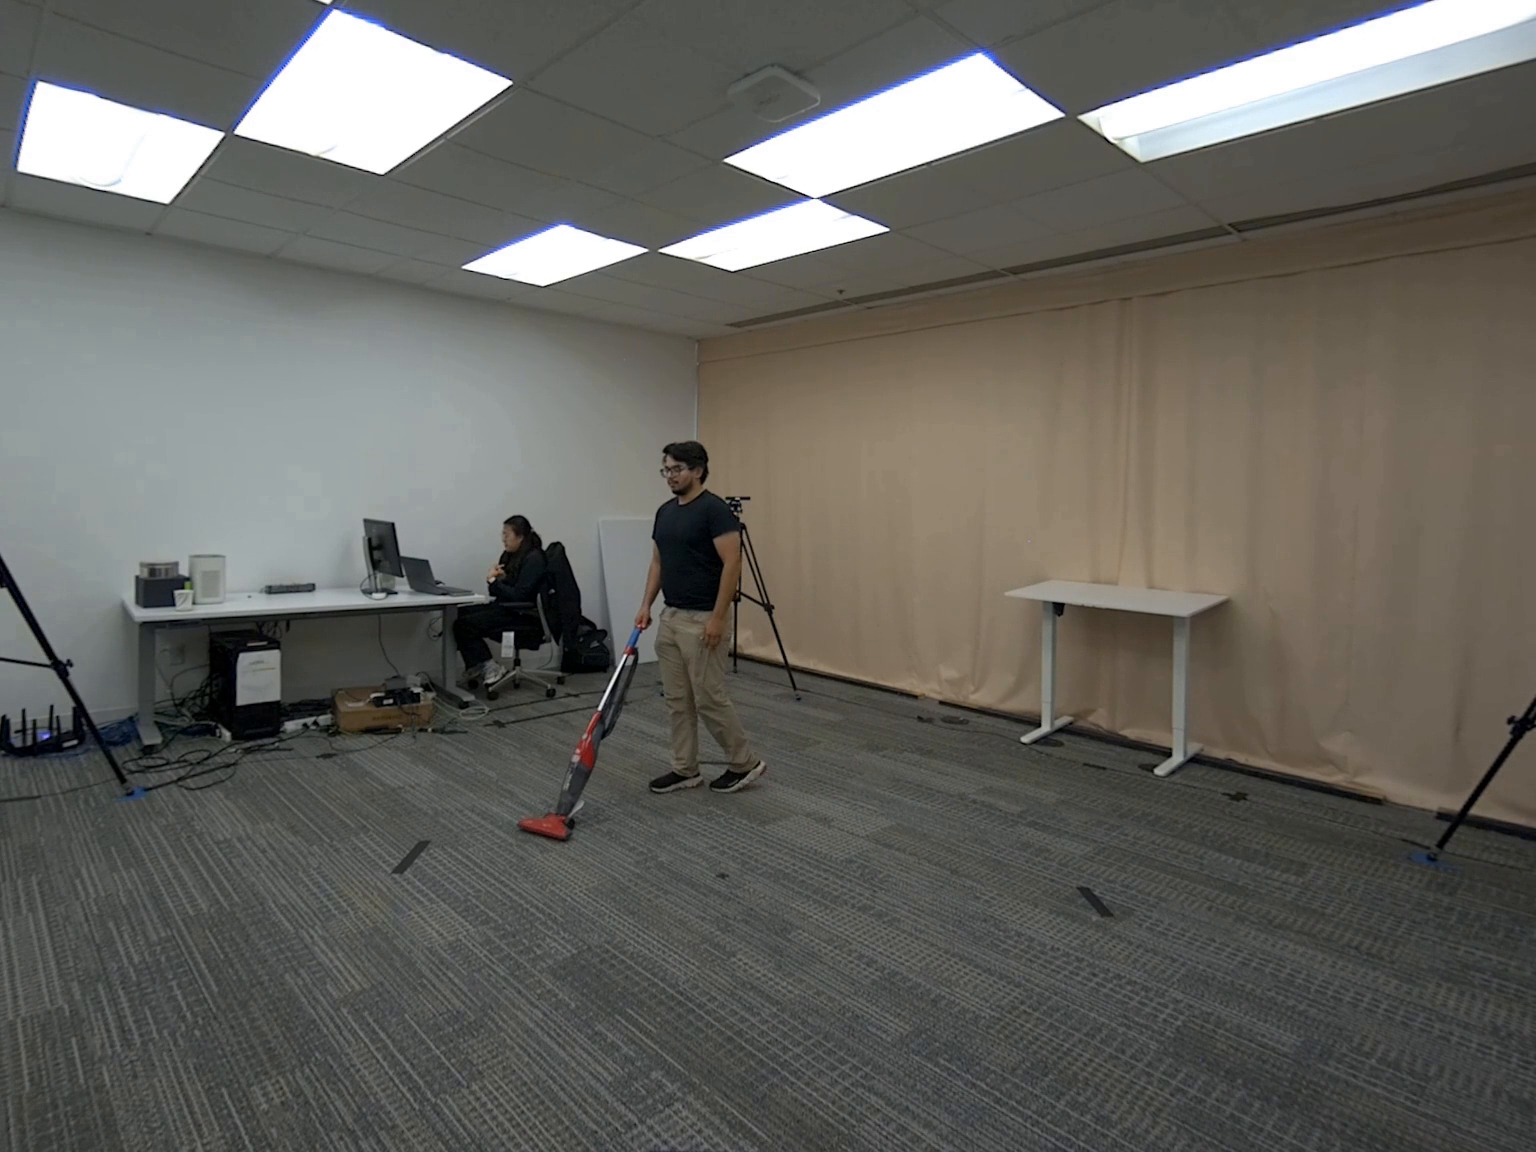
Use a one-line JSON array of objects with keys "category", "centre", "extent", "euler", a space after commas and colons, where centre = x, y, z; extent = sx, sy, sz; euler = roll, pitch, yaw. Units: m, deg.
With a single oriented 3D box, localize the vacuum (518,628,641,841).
[{"category": "vacuum", "centre": [-0.746, 0.631, 3.749], "extent": [0.258, 1.061, 0.139], "euler": [1, -37, 27]}]
